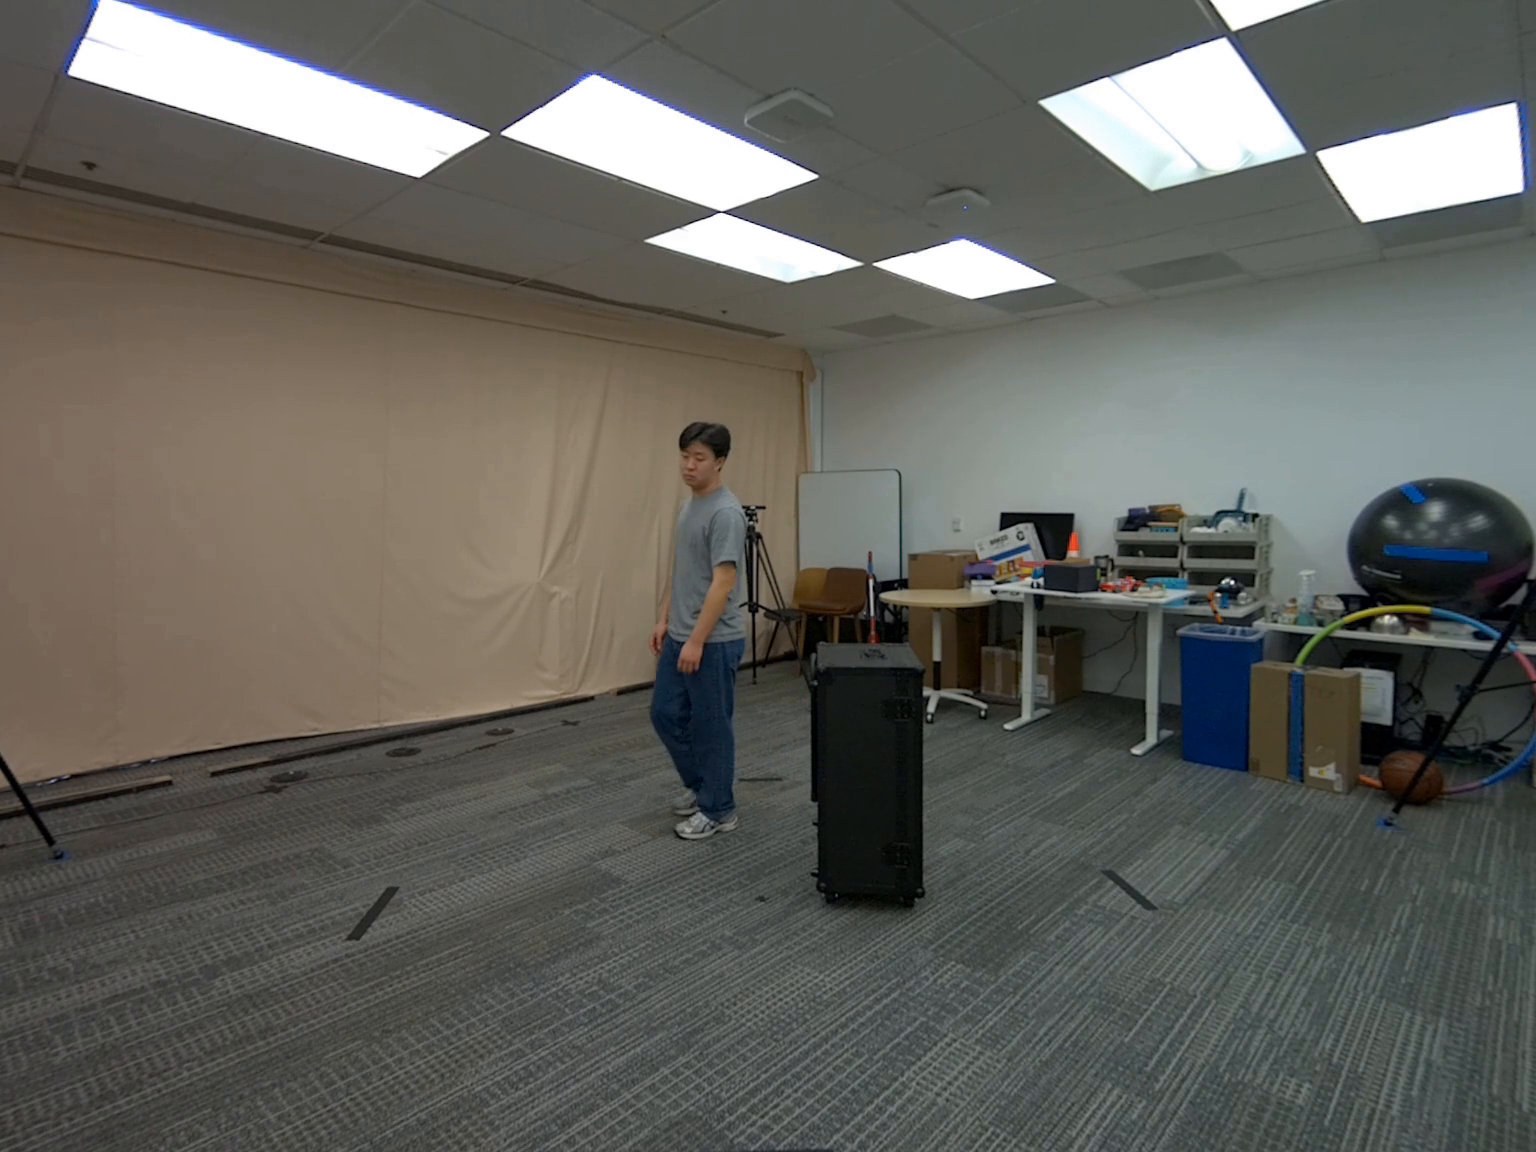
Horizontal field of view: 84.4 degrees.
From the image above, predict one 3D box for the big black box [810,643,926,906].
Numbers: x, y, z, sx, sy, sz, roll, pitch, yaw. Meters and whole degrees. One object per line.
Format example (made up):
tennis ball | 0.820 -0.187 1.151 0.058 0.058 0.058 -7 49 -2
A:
big black box | 0.356 0.709 3.069 0.399 0.859 0.518 -1 4 6
